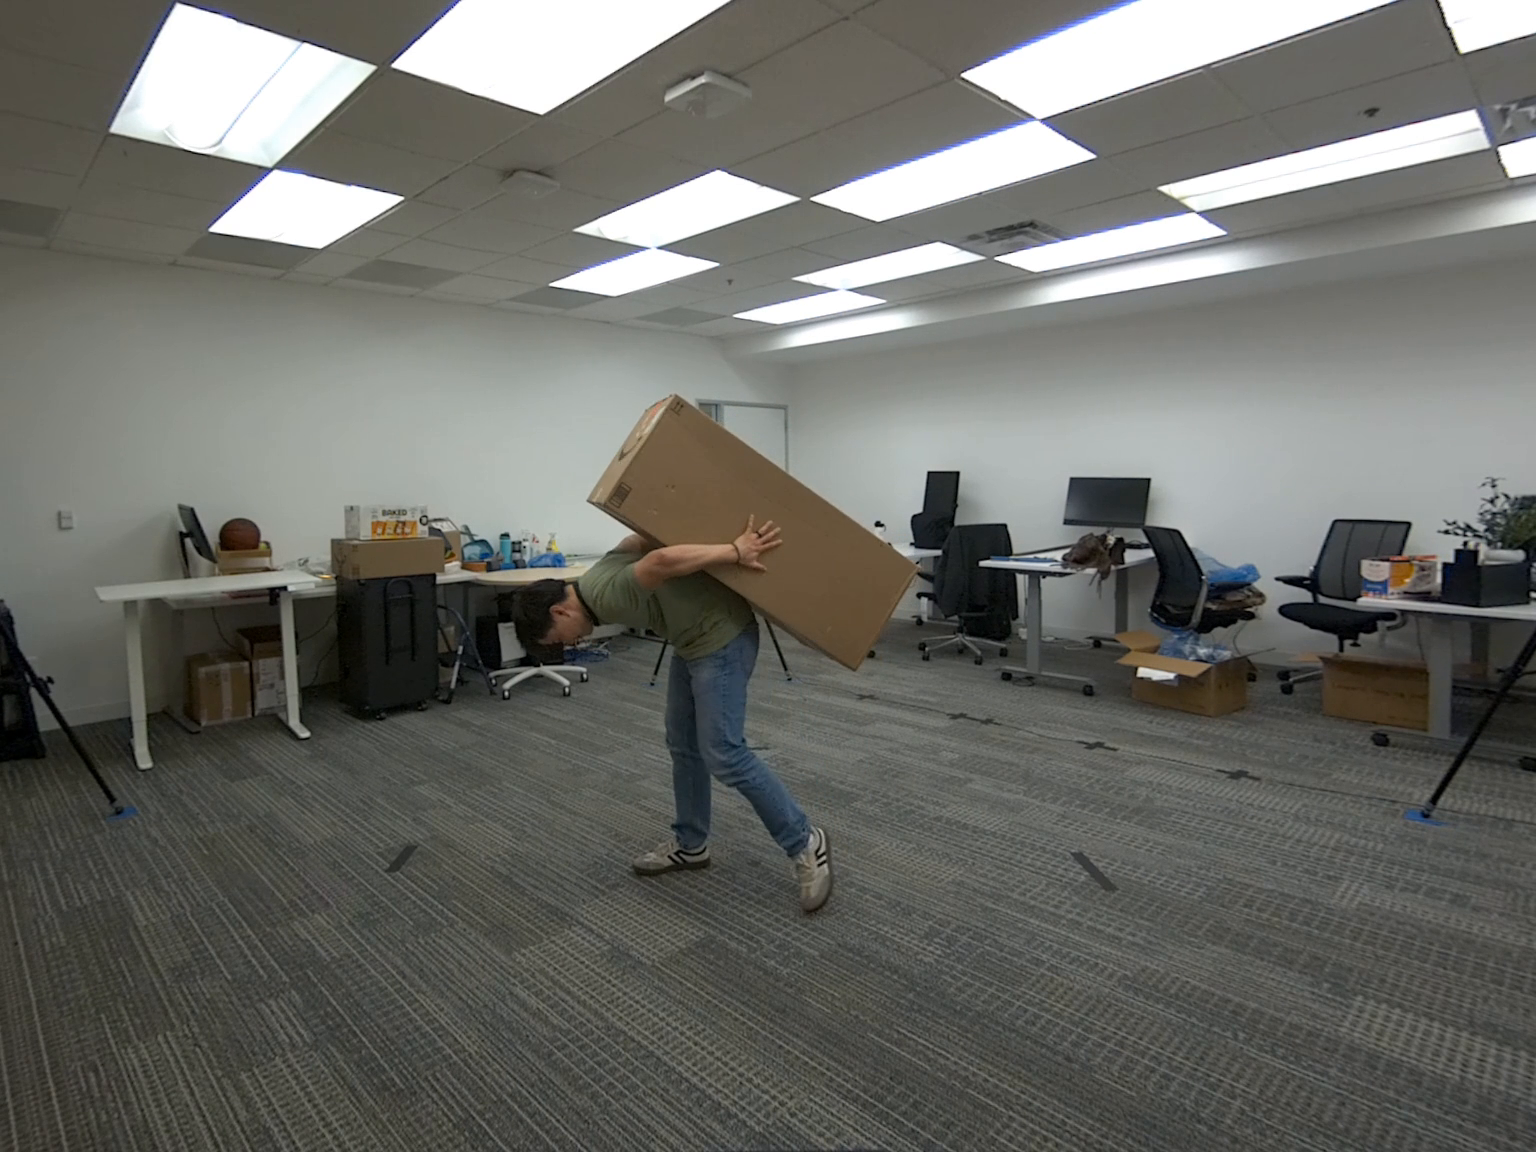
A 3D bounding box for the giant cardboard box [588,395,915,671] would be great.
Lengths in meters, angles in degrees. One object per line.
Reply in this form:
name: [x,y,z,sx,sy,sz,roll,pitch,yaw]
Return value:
giant cardboard box: [-0.079,-0.157,3.051,1.007,0.426,0.588,34,-5,-15]
